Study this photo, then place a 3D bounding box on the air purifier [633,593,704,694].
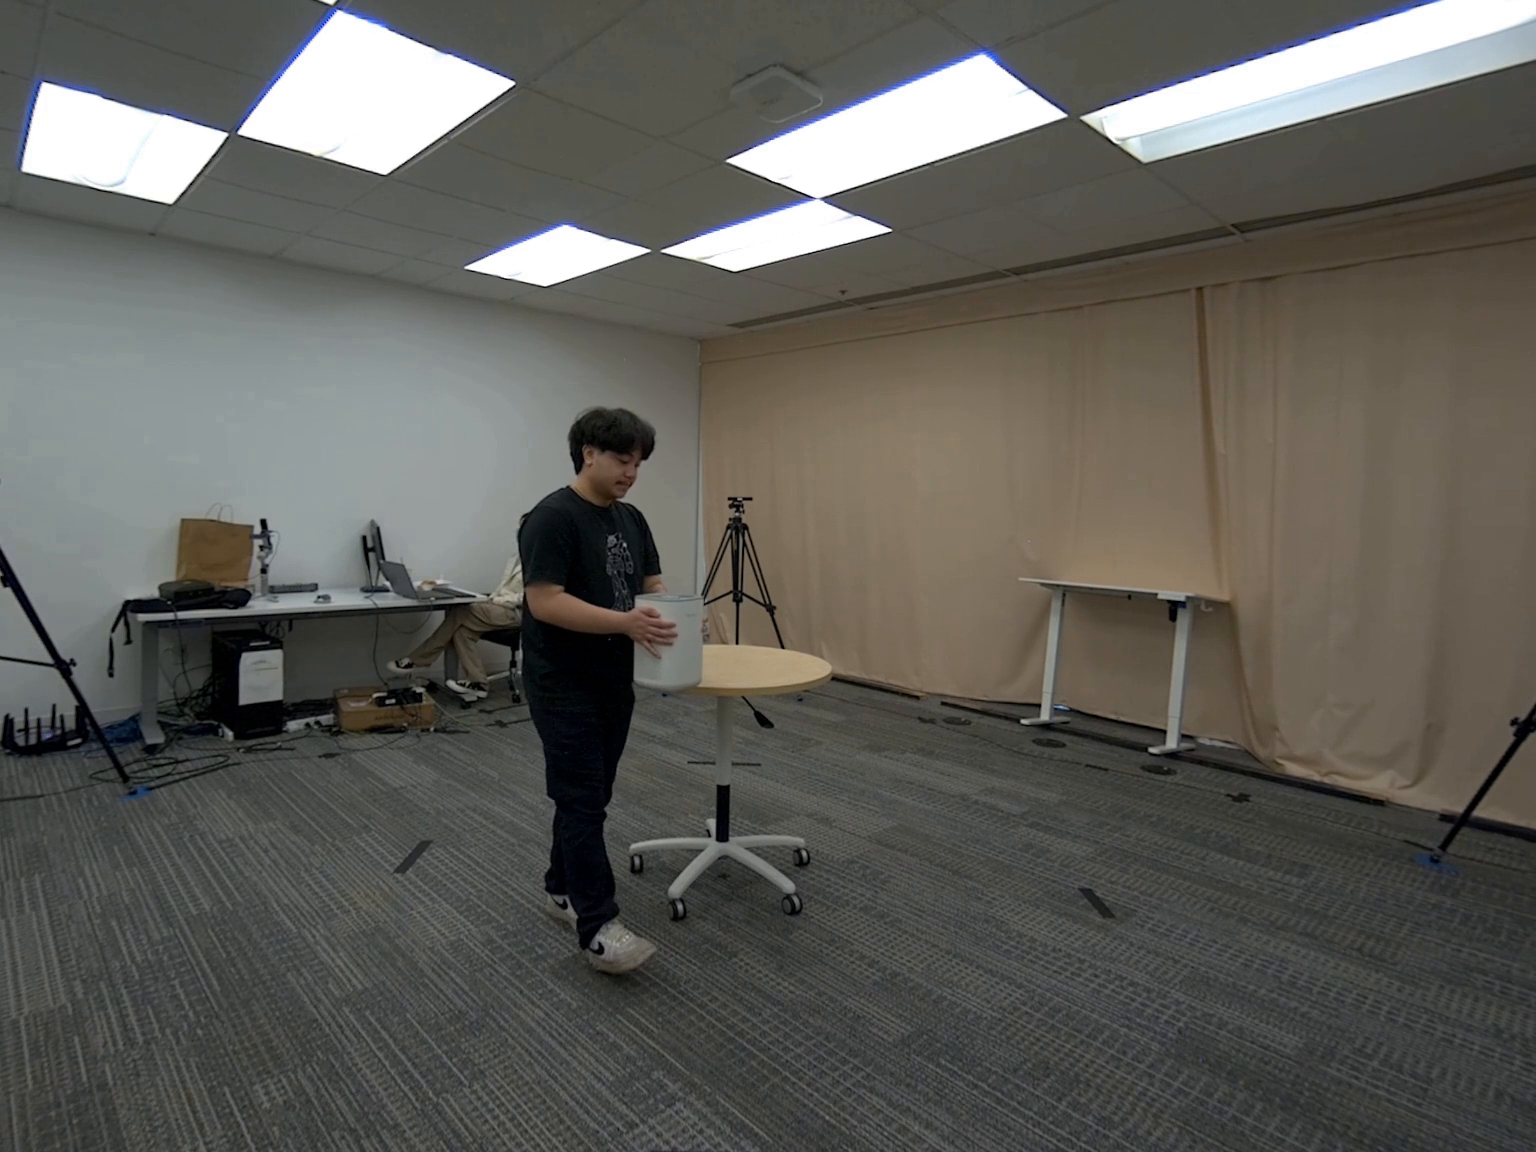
[{"bbox_3d":[-0.311,0.193,2.440,0.175,0.265,0.167,2,4,33],"label":"air purifier"}]
